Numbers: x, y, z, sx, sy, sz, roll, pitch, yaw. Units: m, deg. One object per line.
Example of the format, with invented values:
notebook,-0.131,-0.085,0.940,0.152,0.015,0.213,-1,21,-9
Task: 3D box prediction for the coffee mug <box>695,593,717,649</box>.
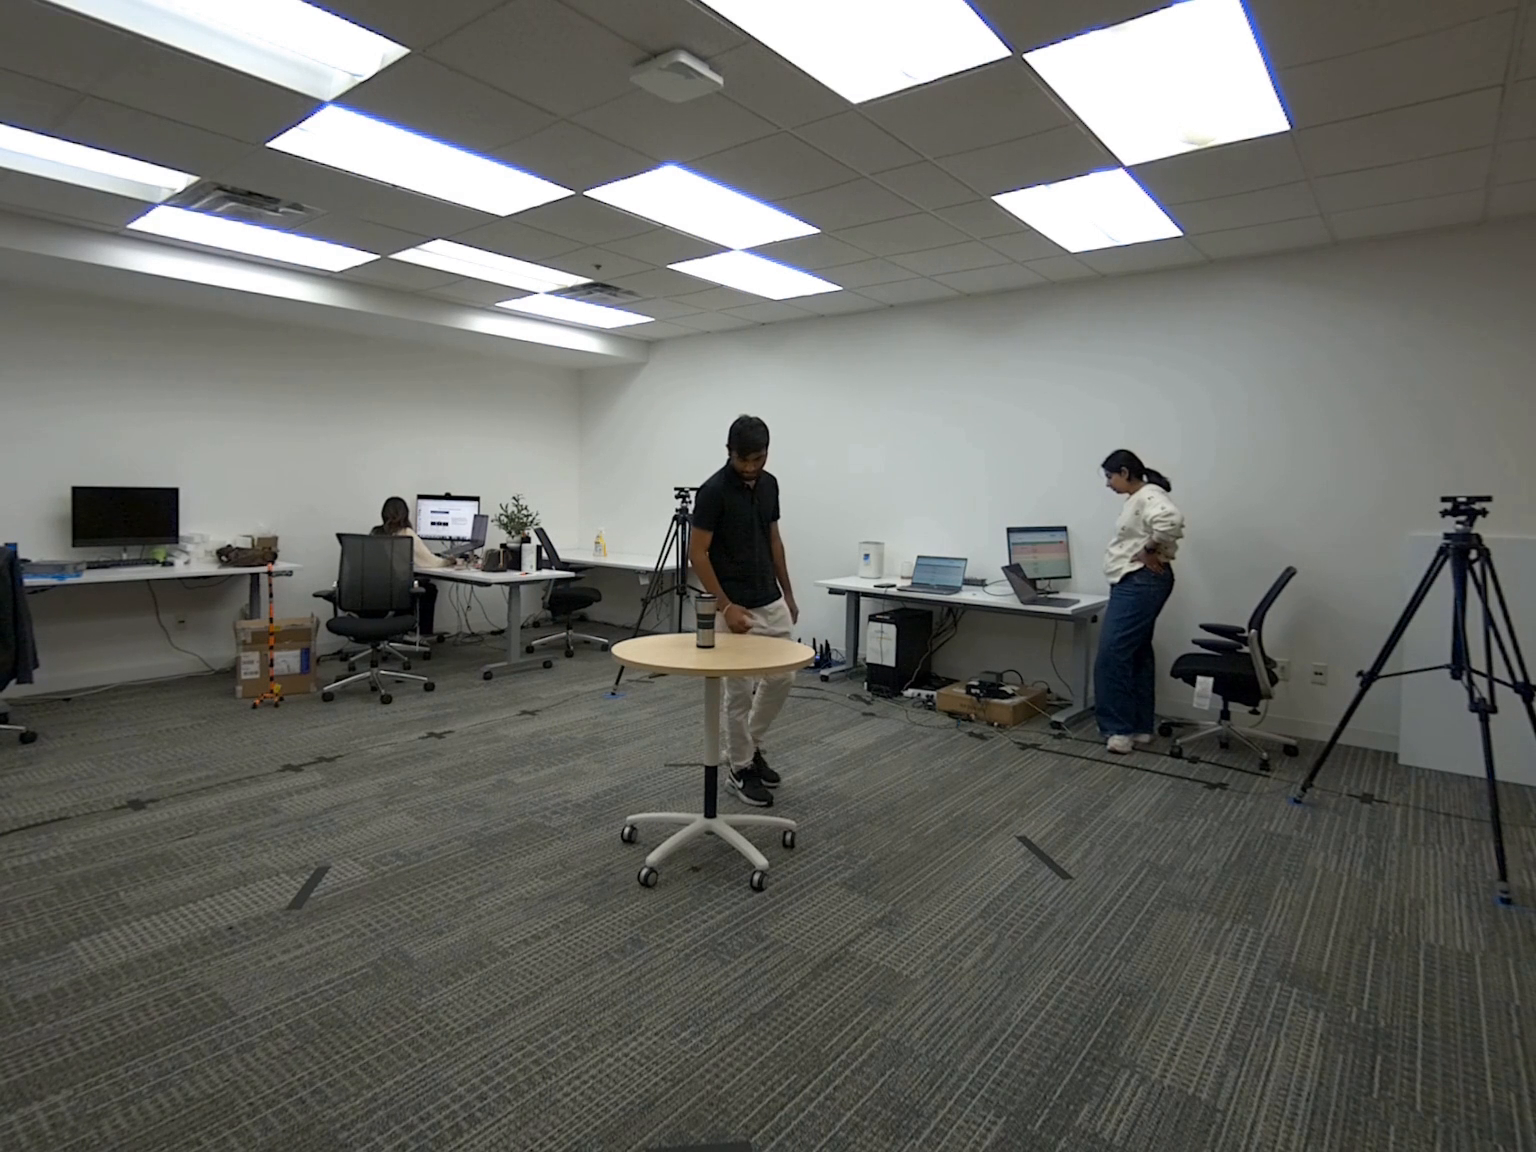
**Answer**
coffee mug,-0.236,0.170,3.268,0.090,0.202,0.119,-1,5,28
